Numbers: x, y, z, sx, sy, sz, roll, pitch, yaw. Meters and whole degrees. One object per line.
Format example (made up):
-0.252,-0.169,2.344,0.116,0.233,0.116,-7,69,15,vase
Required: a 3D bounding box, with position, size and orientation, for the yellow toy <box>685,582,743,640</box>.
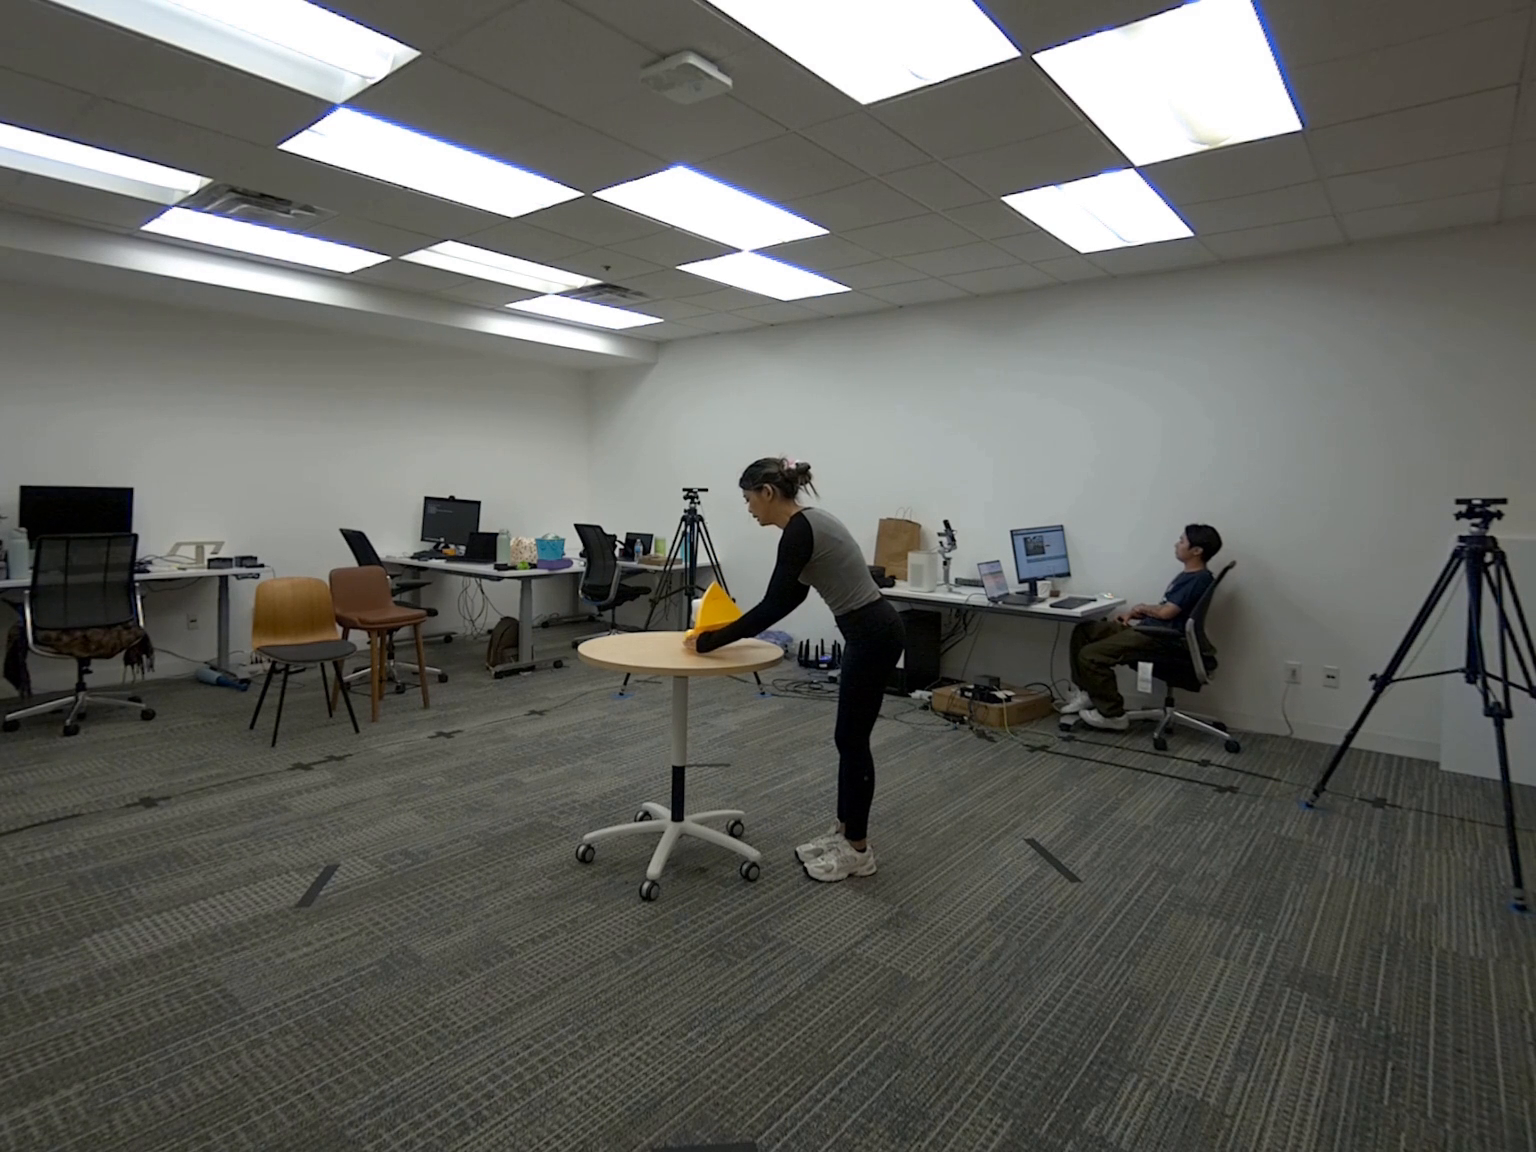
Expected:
-0.229,0.131,3.153,0.199,0.230,0.198,-7,4,-33,yellow toy
